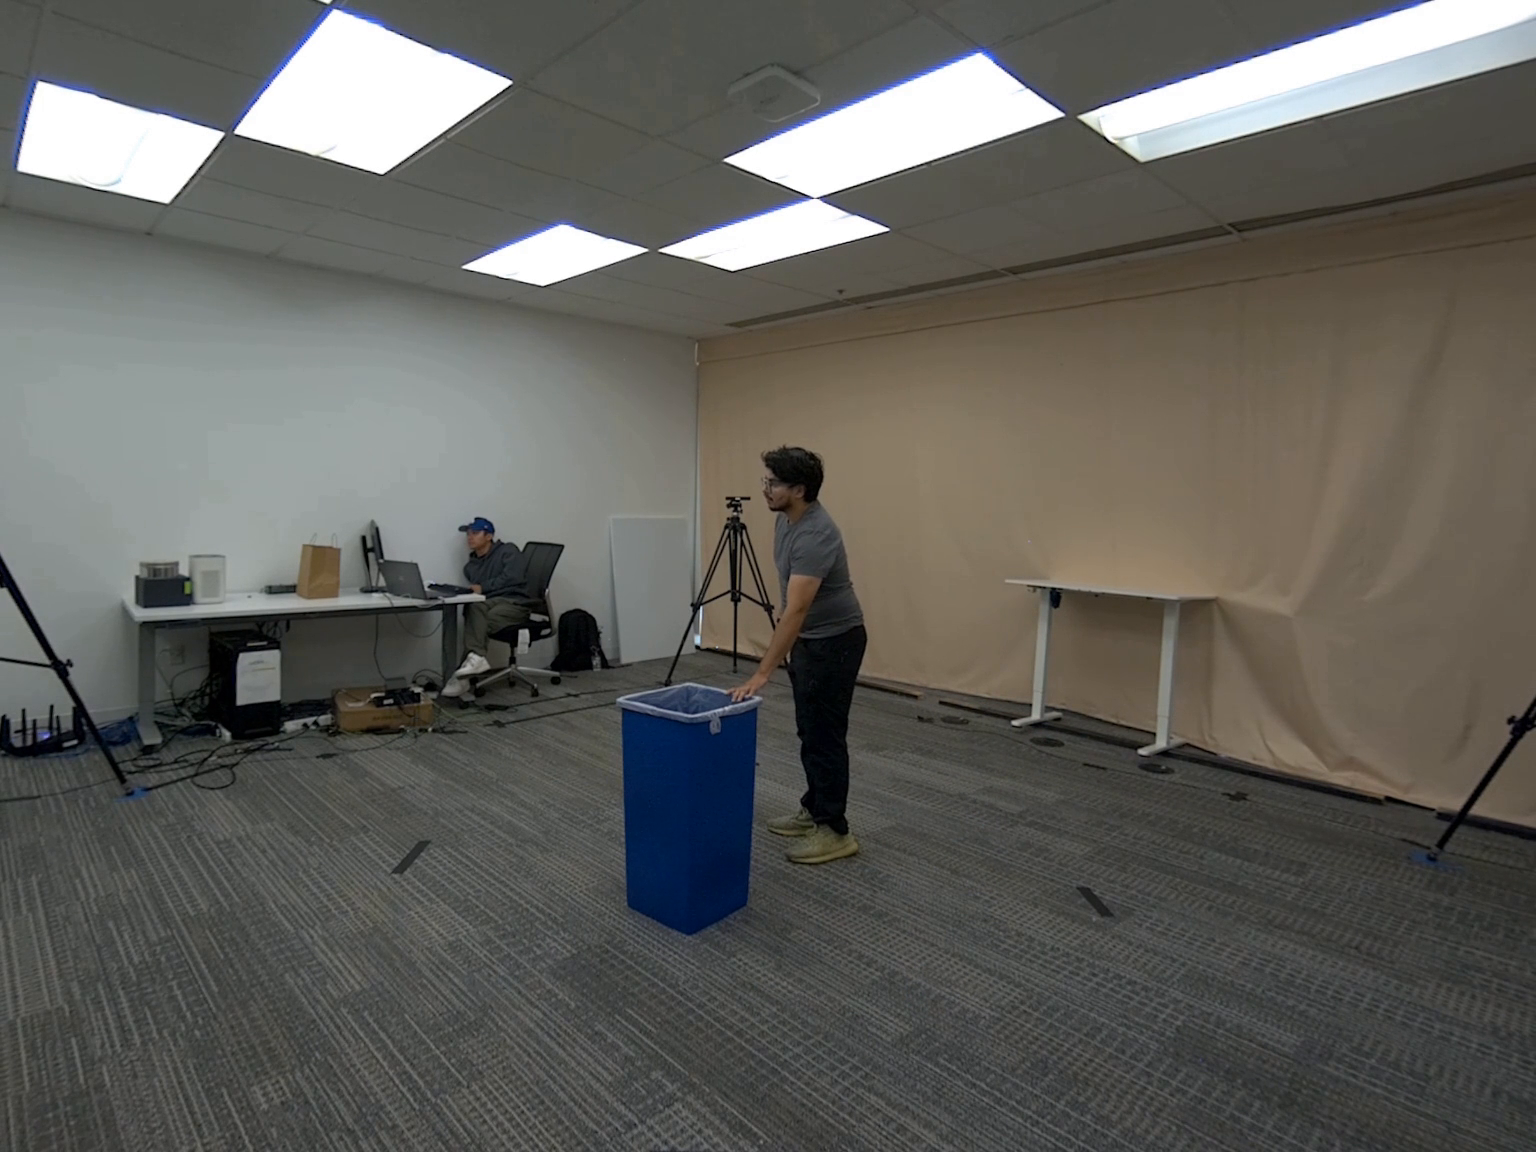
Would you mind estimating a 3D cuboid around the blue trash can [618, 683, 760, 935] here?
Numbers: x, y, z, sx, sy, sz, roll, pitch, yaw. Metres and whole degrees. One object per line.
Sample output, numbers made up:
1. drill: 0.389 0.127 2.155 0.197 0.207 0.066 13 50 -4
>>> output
1. blue trash can: -0.282 0.768 2.861 0.383 0.712 0.369 4 4 39
